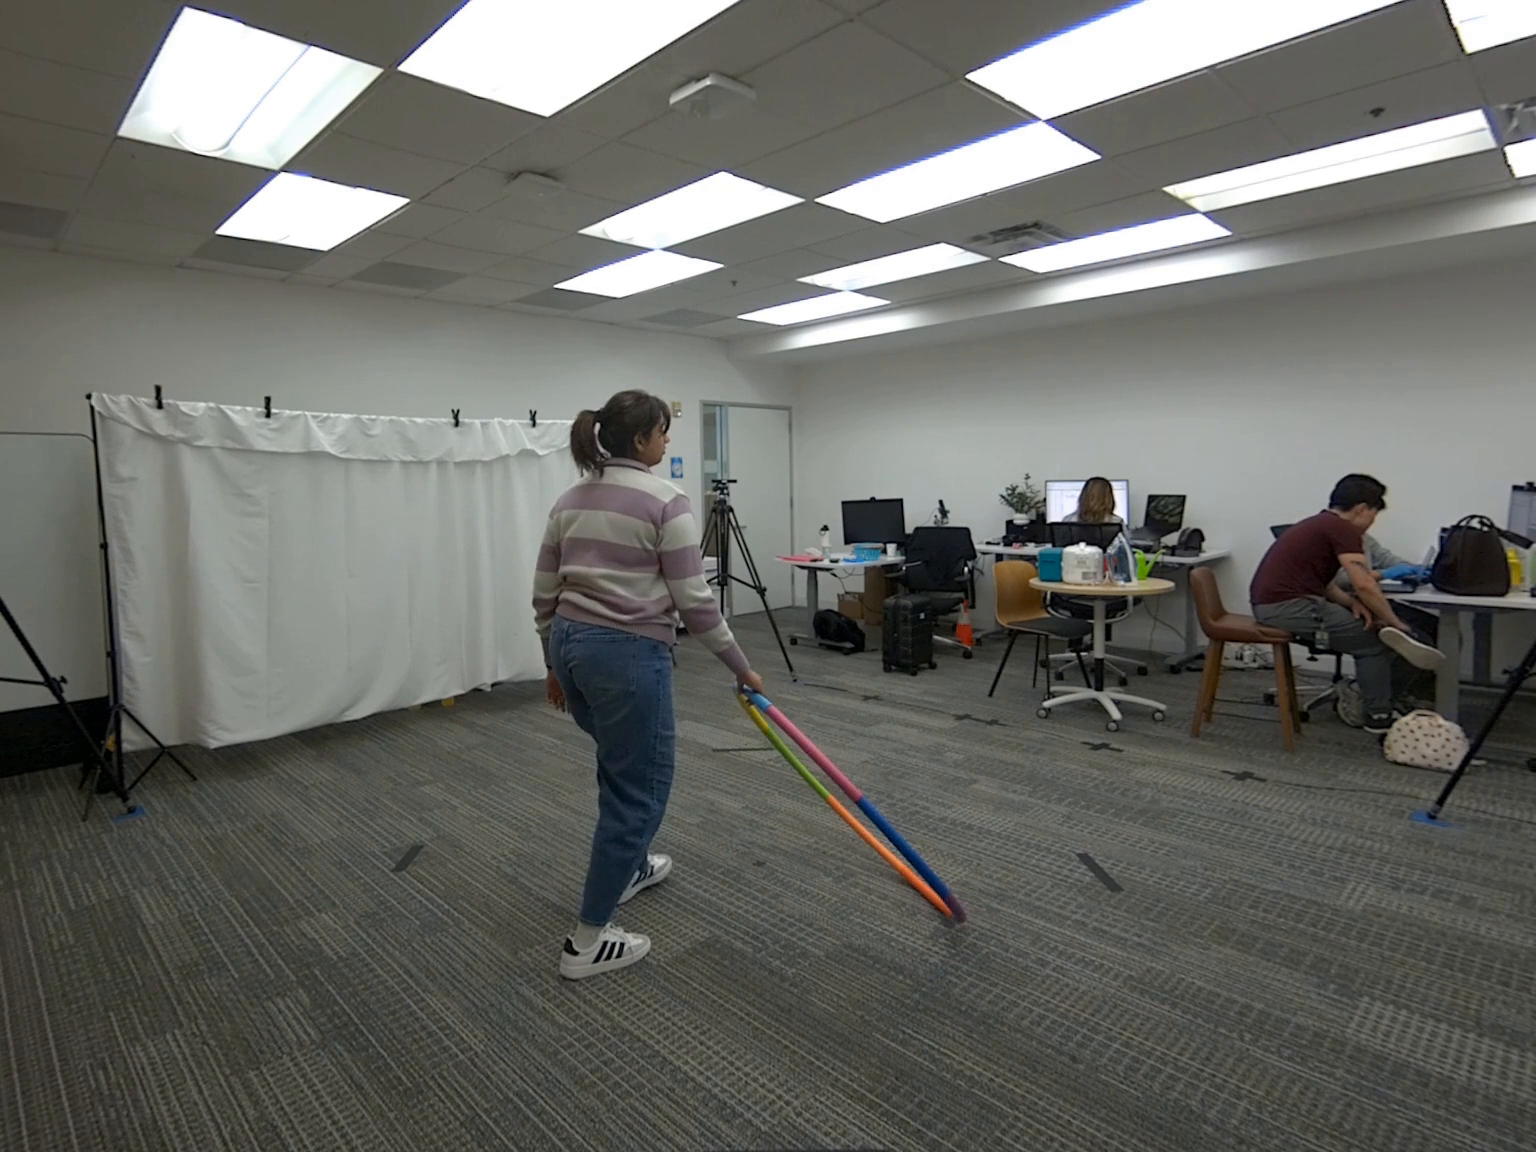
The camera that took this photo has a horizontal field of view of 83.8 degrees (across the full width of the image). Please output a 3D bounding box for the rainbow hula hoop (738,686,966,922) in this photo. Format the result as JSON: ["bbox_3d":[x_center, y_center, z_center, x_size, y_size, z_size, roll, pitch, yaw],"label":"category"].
[{"bbox_3d":[0.246,0.701,2.733,0.051,0.967,1.006,-43,16,-11],"label":"rainbow hula hoop"}]
